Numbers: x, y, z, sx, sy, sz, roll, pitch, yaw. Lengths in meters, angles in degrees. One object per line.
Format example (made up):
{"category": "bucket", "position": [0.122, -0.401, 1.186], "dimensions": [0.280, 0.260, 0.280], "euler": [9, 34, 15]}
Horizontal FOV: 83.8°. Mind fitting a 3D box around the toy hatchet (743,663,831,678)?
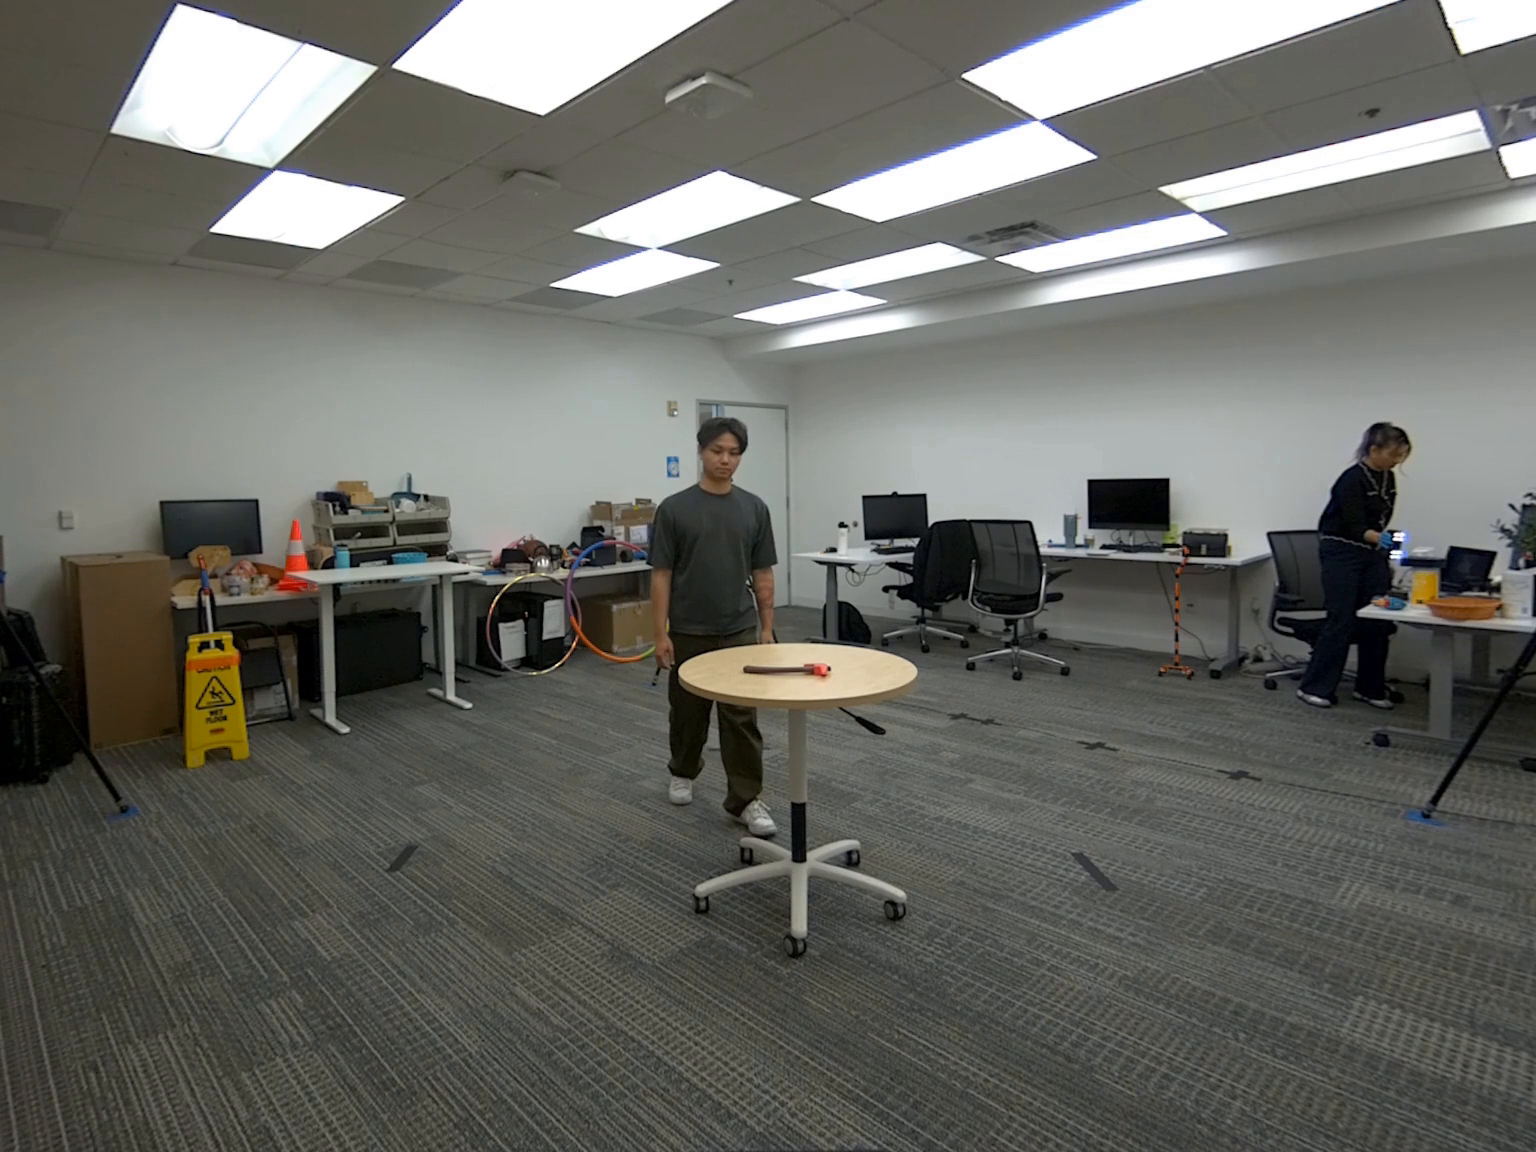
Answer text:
{"category": "toy hatchet", "position": [0.072, 0.294, 2.713], "dimensions": [0.275, 0.029, 0.129], "euler": [0, 6, 21]}
